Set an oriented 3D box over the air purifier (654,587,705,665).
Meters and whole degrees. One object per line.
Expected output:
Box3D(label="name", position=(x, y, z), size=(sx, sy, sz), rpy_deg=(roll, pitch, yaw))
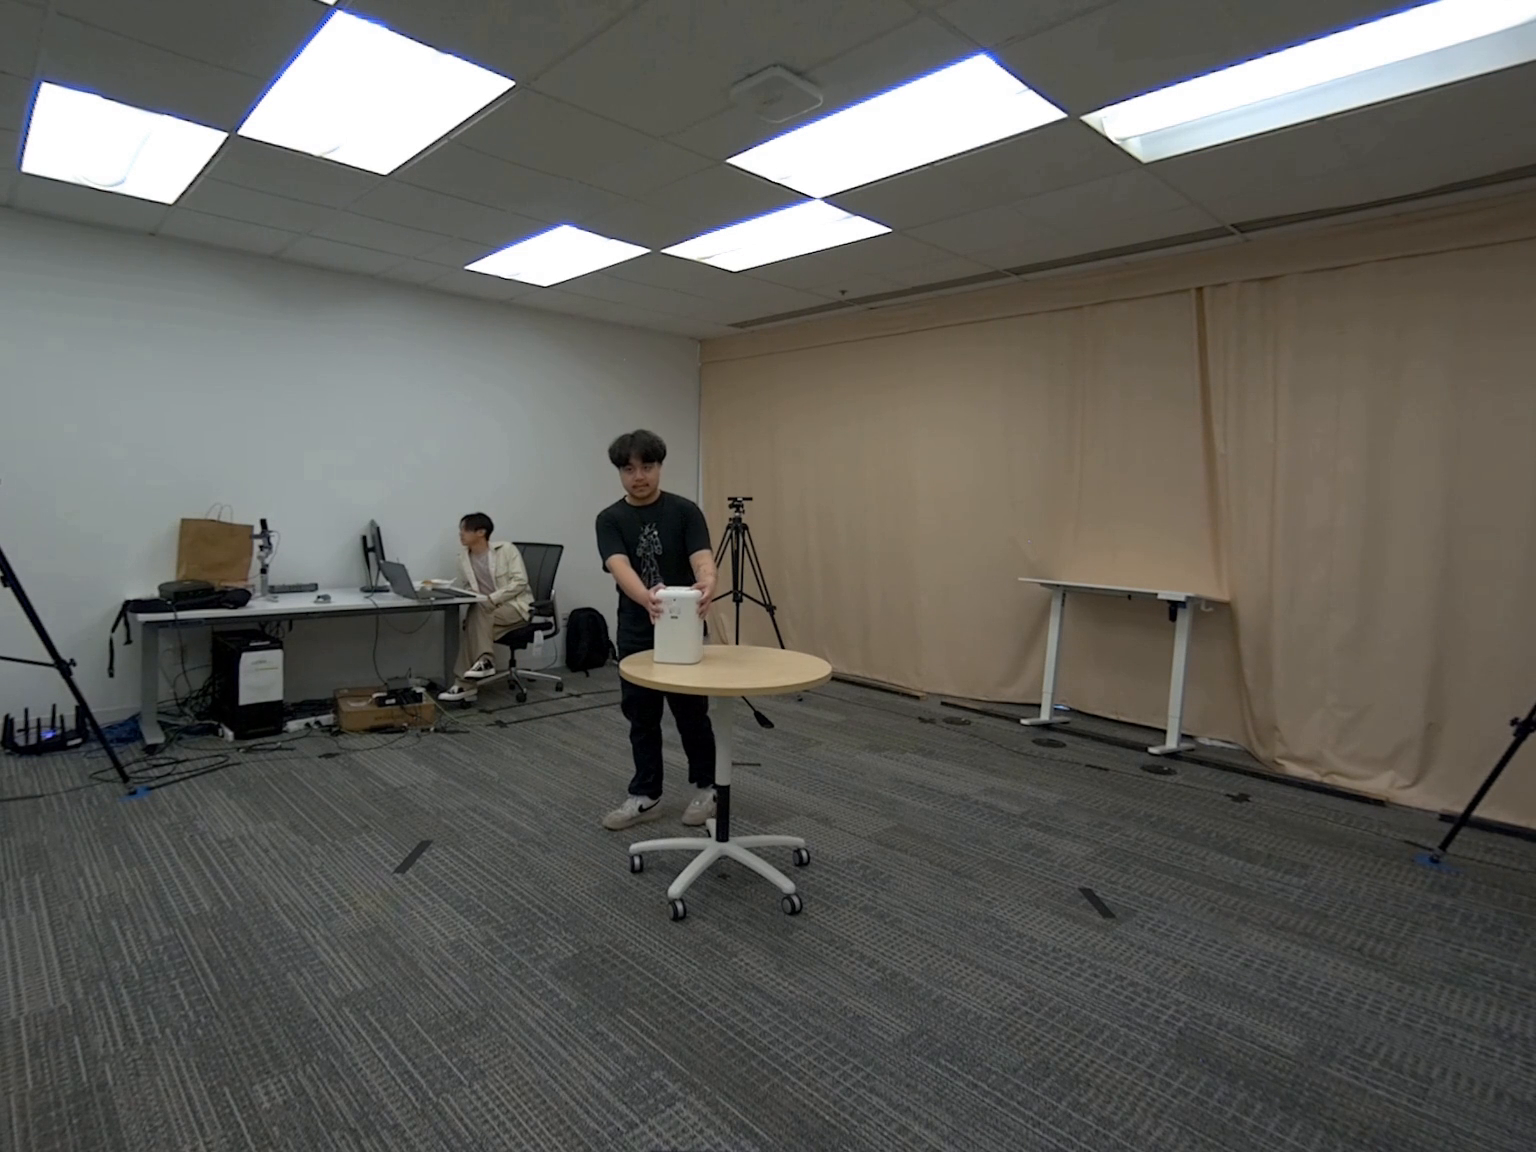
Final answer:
Box3D(label="air purifier", position=(-0.342, 0.180, 3.102), size=(0.172, 0.265, 0.171), rpy_deg=(0, 3, 6))
